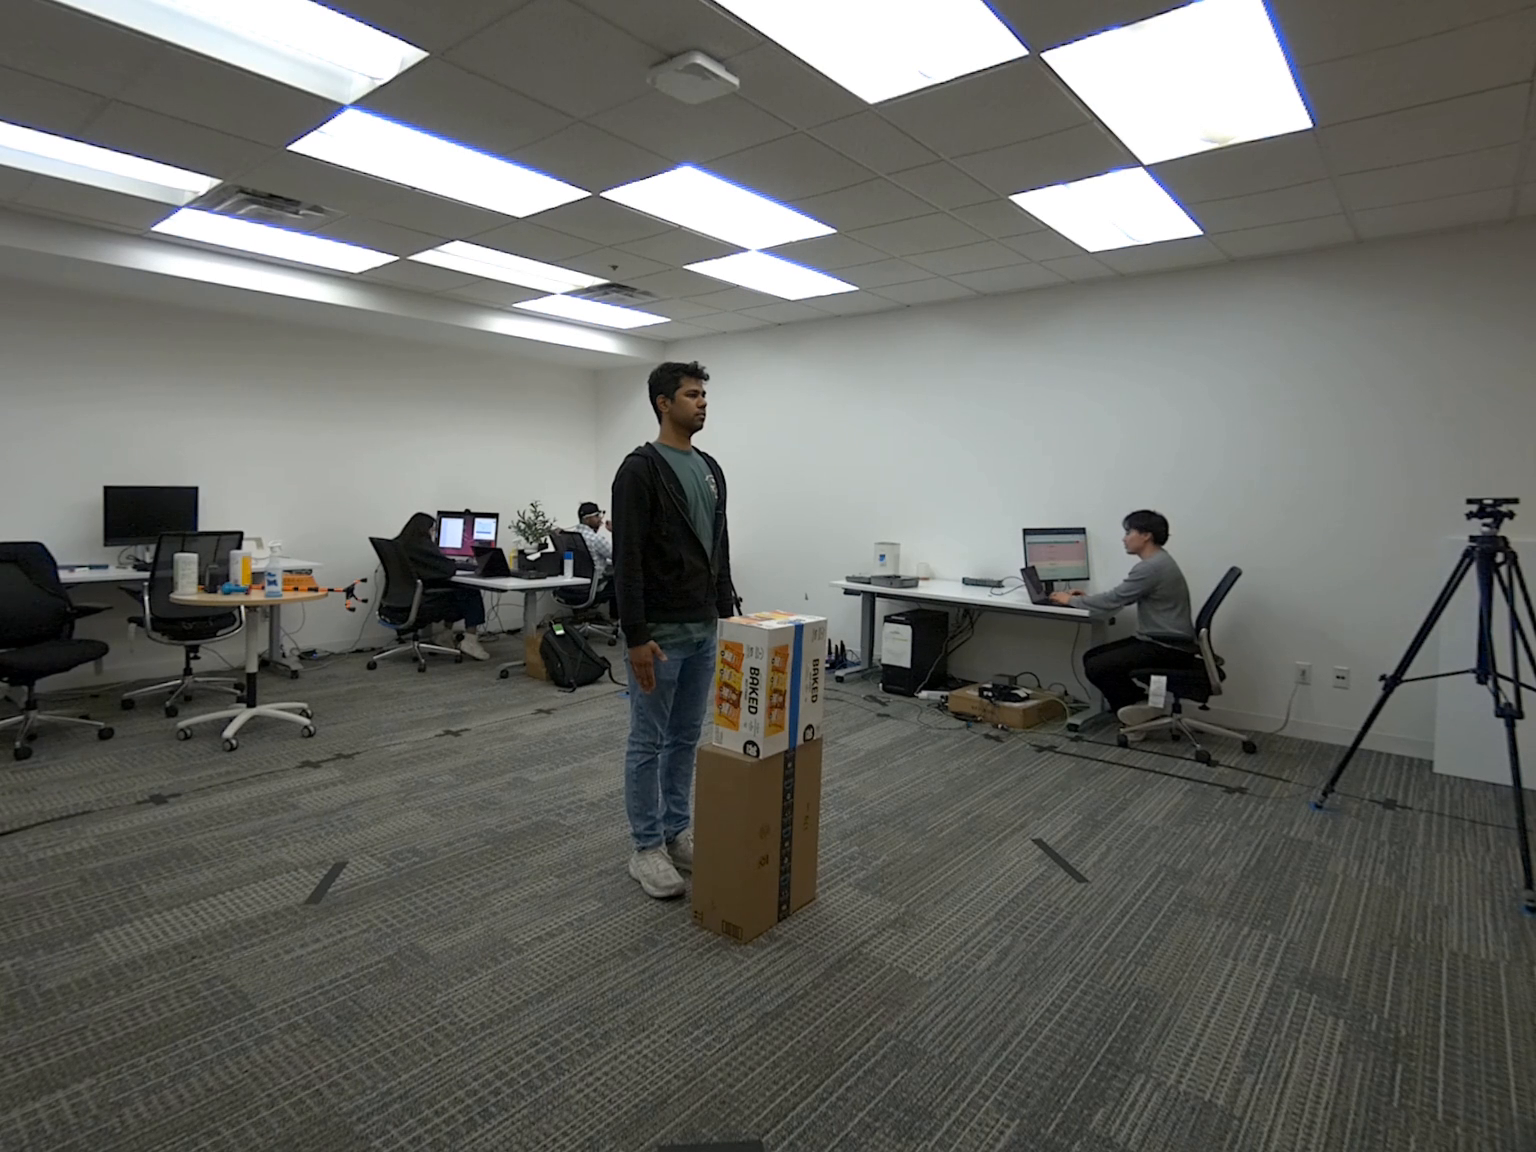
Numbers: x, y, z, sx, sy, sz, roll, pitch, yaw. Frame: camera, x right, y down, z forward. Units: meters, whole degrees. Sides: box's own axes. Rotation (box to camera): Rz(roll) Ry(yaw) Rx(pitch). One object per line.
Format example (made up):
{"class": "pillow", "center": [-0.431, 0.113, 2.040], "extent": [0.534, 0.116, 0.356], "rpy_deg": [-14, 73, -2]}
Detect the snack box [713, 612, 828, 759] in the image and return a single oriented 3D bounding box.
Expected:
{"class": "snack box", "center": [-0.003, 0.335, 2.772], "extent": [0.213, 0.403, 0.330], "rpy_deg": [7, 6, 38]}
